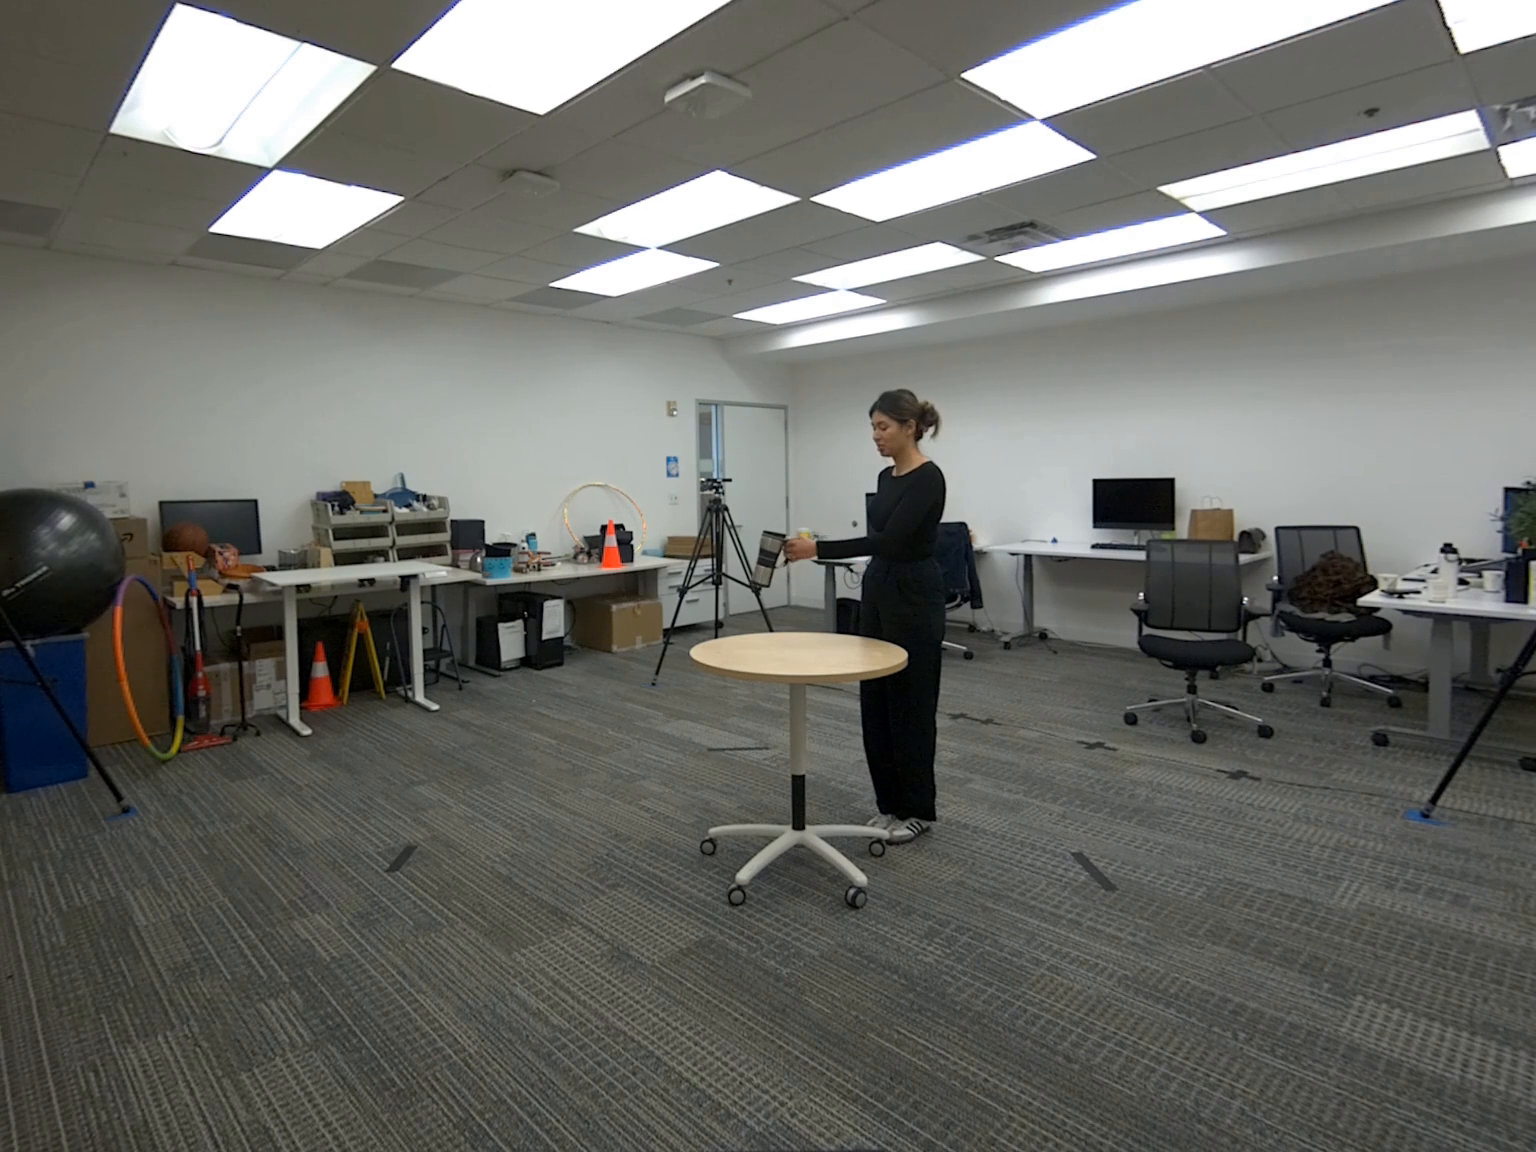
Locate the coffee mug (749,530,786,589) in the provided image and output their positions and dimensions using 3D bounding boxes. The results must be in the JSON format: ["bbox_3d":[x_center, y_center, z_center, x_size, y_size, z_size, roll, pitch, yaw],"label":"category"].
[{"bbox_3d":[0.039,-0.054,3.074,0.121,0.203,0.088,8,1,-6],"label":"coffee mug"}]
